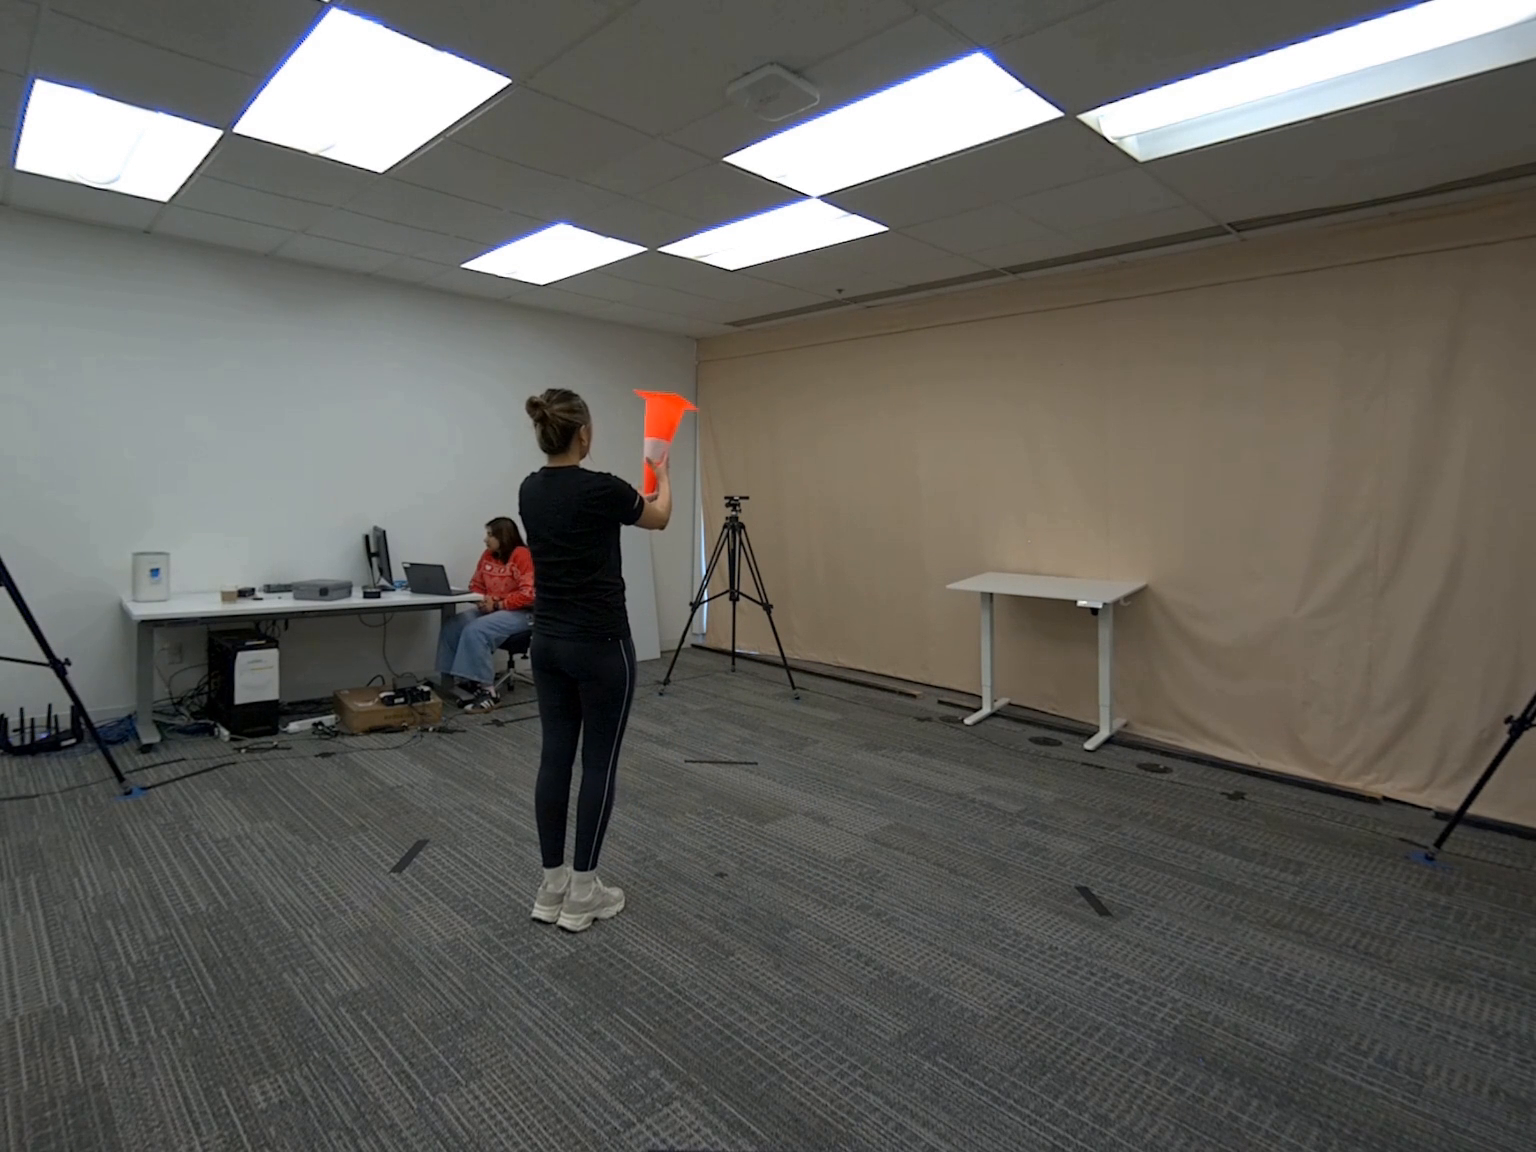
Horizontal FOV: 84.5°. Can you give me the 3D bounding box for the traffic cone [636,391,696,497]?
[{"bbox_3d":[-0.448,-0.501,3.264,0.209,0.385,0.199,9,-5,21],"label":"traffic cone"}]
